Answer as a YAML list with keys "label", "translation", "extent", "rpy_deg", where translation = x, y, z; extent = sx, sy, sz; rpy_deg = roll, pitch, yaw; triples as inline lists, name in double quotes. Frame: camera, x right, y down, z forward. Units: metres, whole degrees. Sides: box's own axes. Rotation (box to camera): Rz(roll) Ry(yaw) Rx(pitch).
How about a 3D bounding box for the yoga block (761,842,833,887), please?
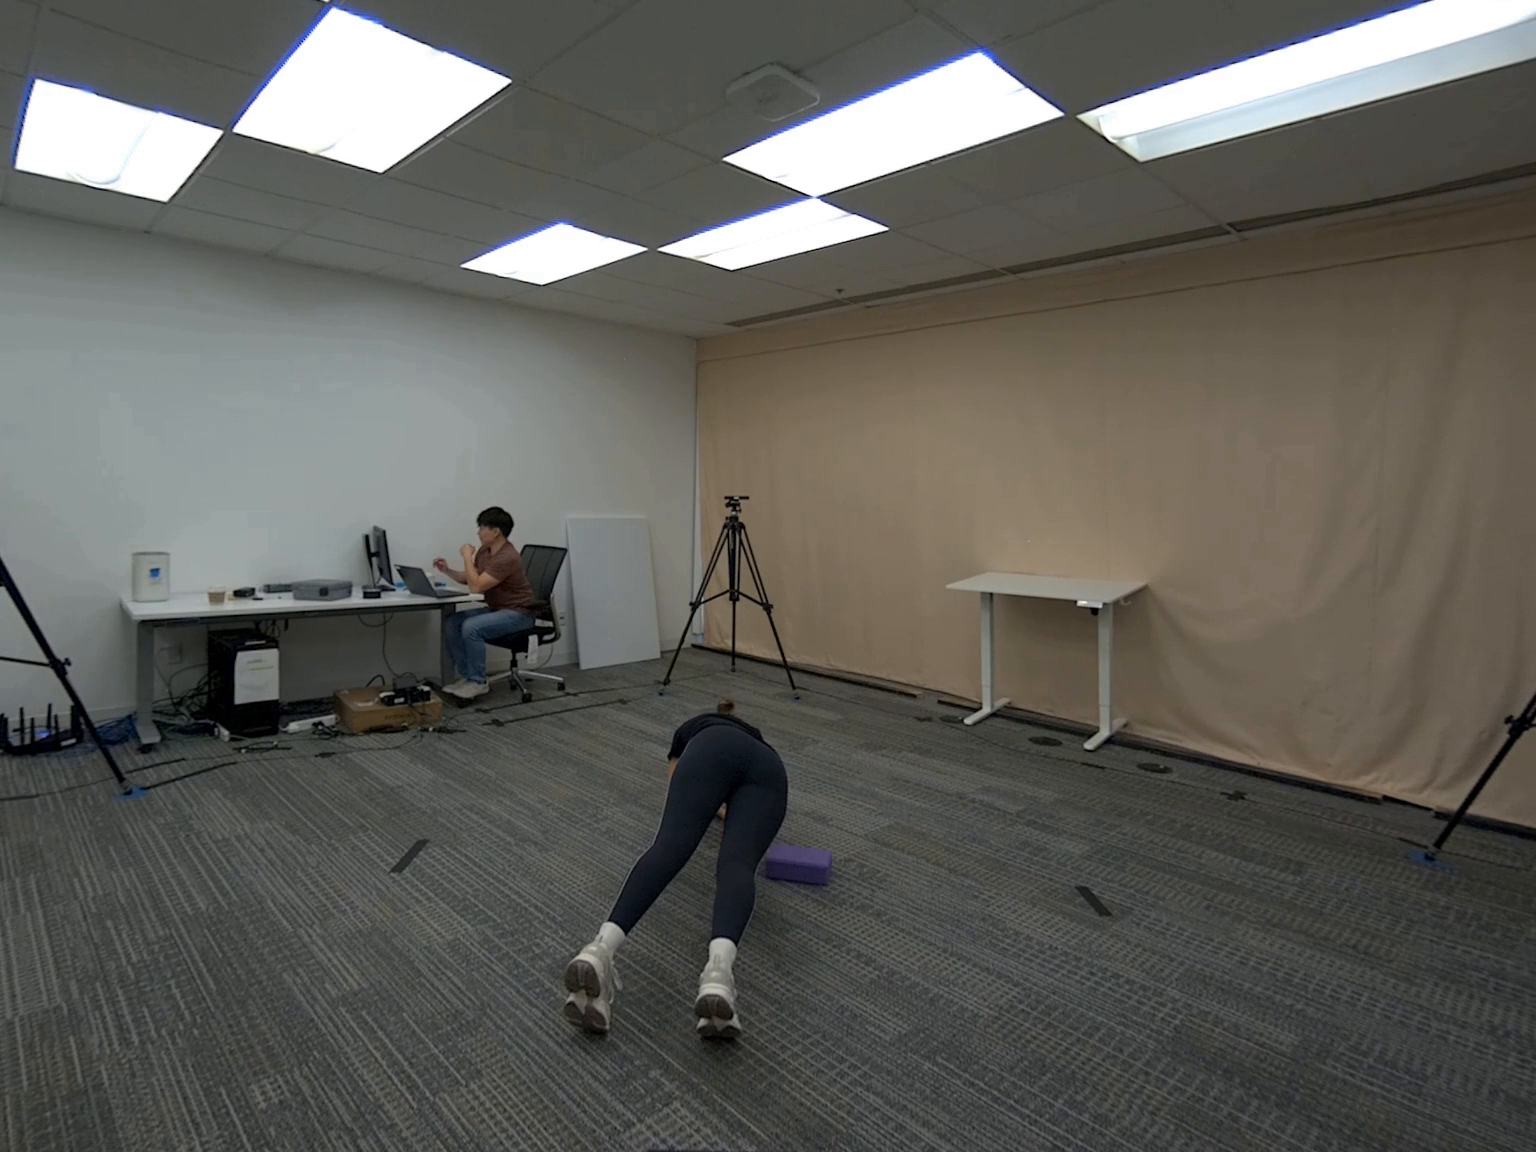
- label: "yoga block"
  translation: [0.108, 1.064, 3.118]
  extent: [0.232, 0.076, 0.148]
  rpy_deg: [2, 7, 13]
